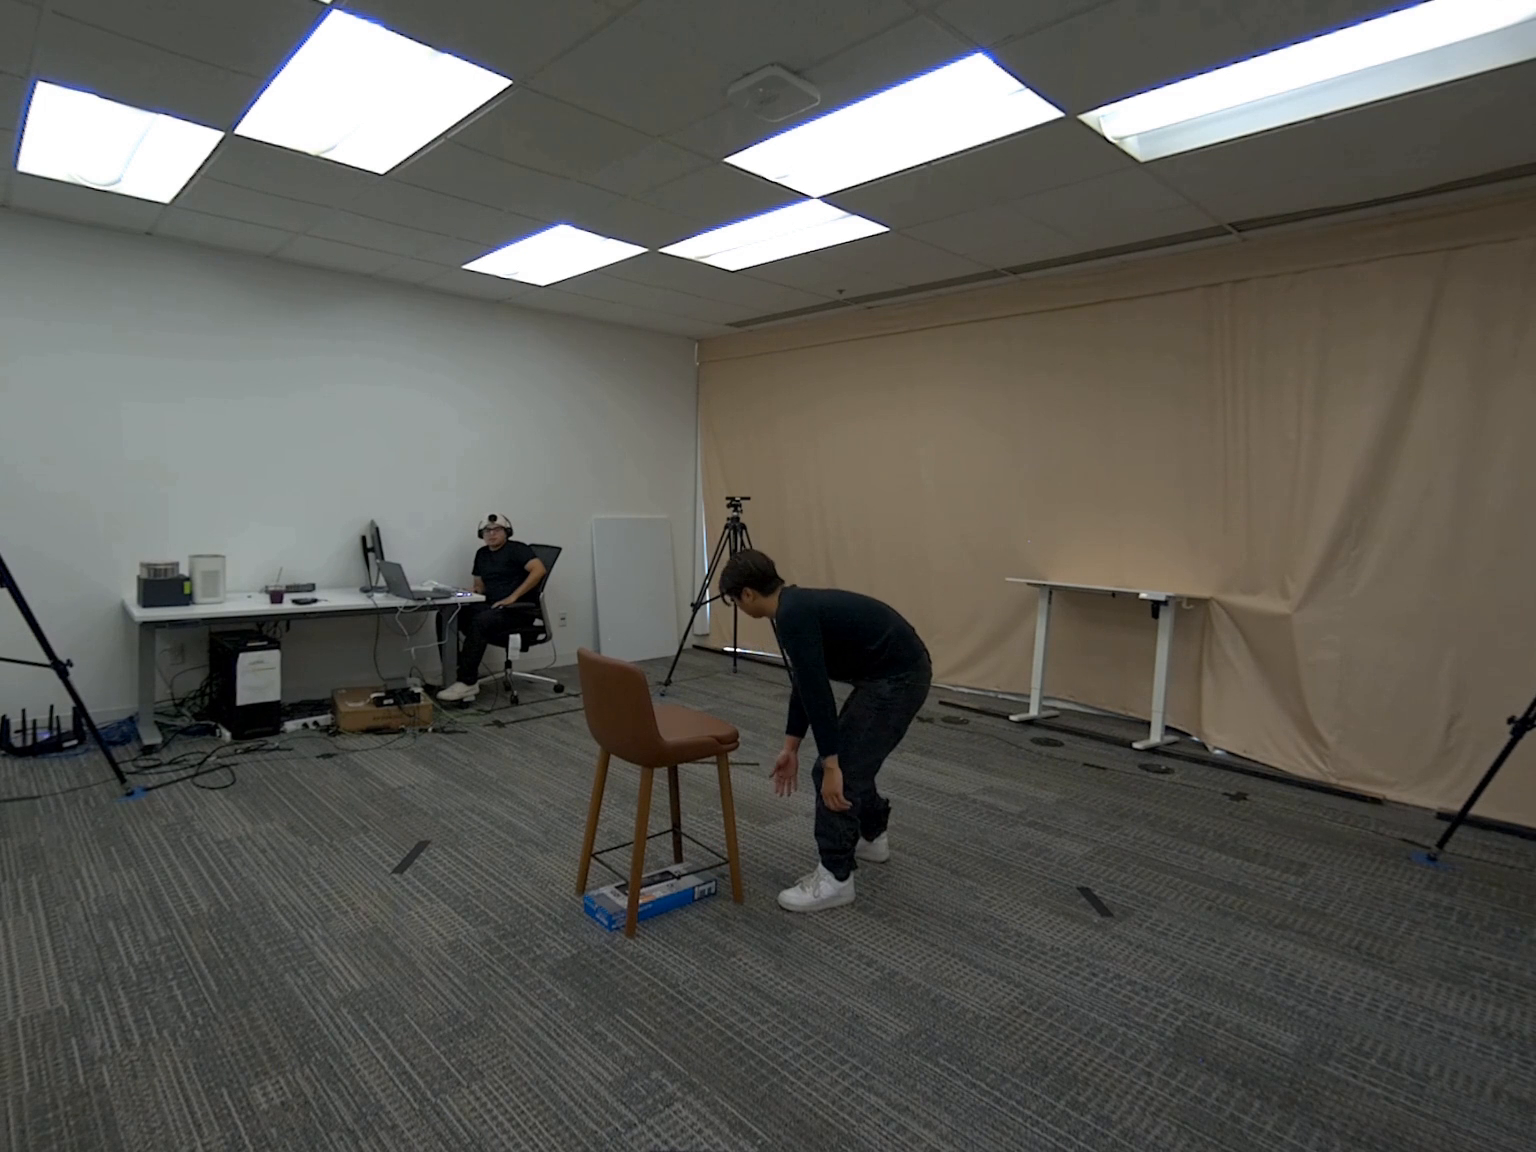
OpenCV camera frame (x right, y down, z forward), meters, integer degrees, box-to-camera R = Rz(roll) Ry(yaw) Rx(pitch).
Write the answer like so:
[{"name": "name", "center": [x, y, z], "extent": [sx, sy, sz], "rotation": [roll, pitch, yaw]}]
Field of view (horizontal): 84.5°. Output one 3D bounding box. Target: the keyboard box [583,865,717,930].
[{"name": "keyboard box", "center": [-0.404, 1.097, 2.882], "extent": [0.427, 0.059, 0.180], "rotation": [-3, 5, -40]}]
